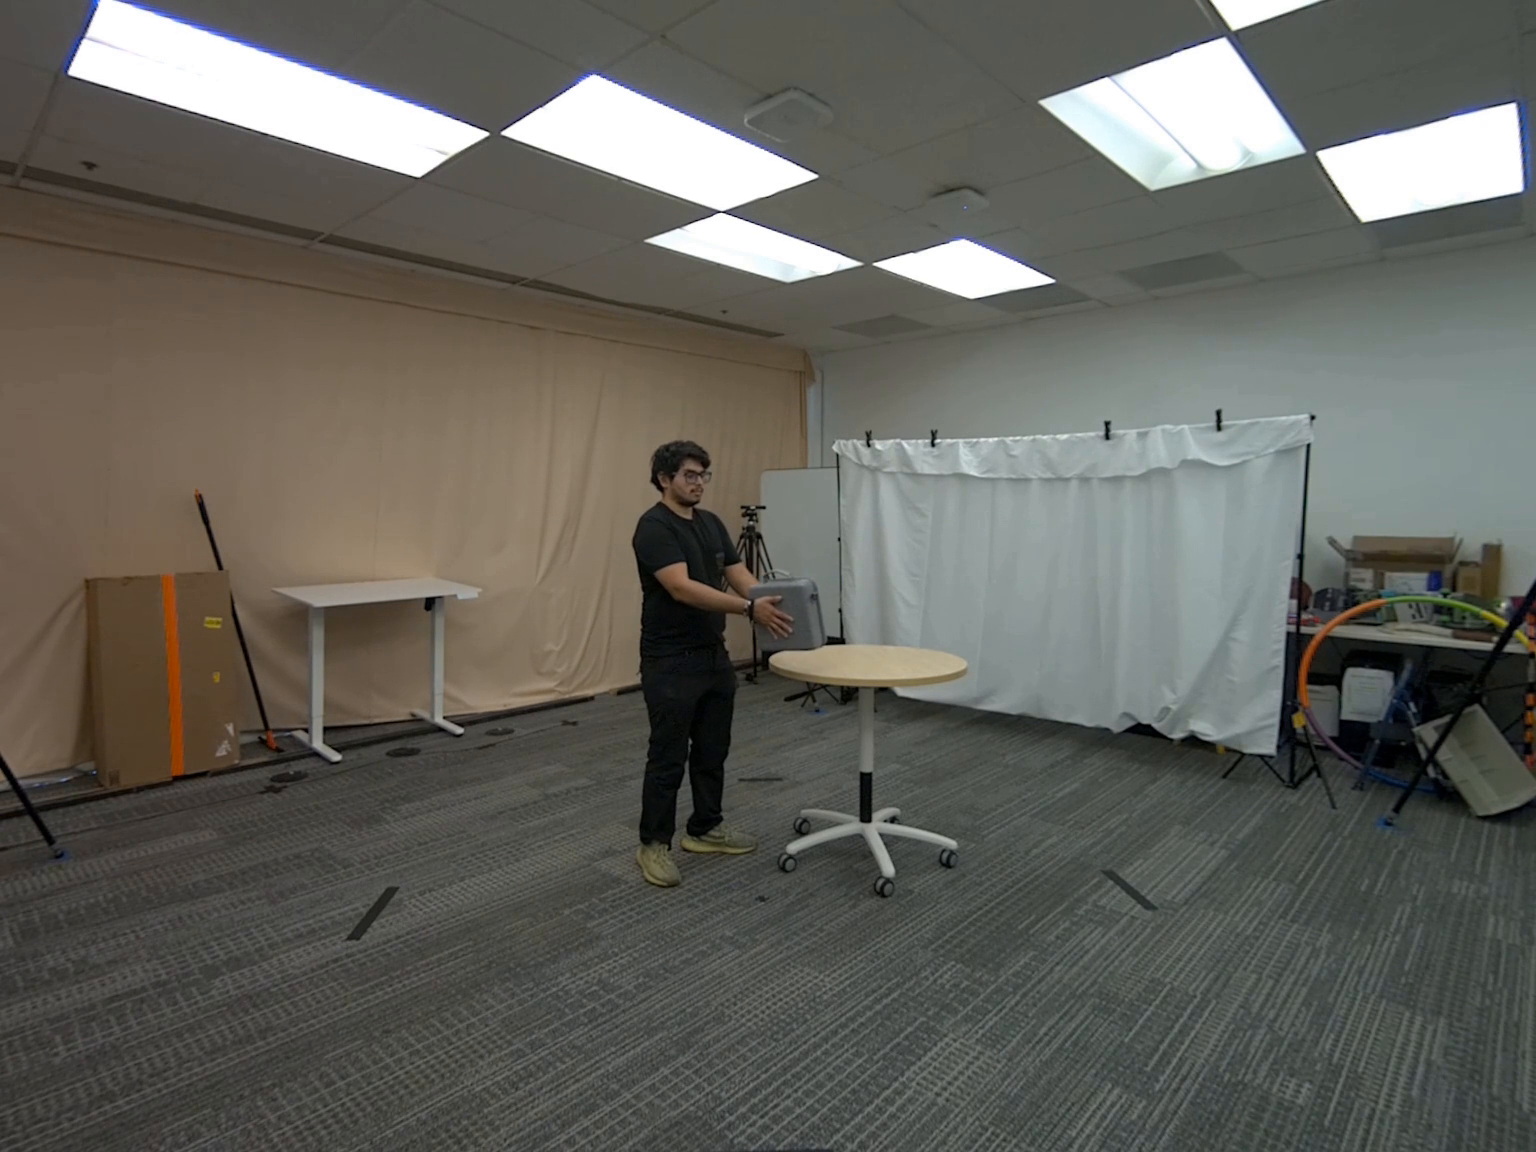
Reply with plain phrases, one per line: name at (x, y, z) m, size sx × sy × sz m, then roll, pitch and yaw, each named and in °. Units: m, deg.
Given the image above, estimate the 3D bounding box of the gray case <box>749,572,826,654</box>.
gray case at (0.073, 0.138, 3.006) m, size 0.264 × 0.259 × 0.102 m, roll -6°, pitch 6°, yaw 37°
